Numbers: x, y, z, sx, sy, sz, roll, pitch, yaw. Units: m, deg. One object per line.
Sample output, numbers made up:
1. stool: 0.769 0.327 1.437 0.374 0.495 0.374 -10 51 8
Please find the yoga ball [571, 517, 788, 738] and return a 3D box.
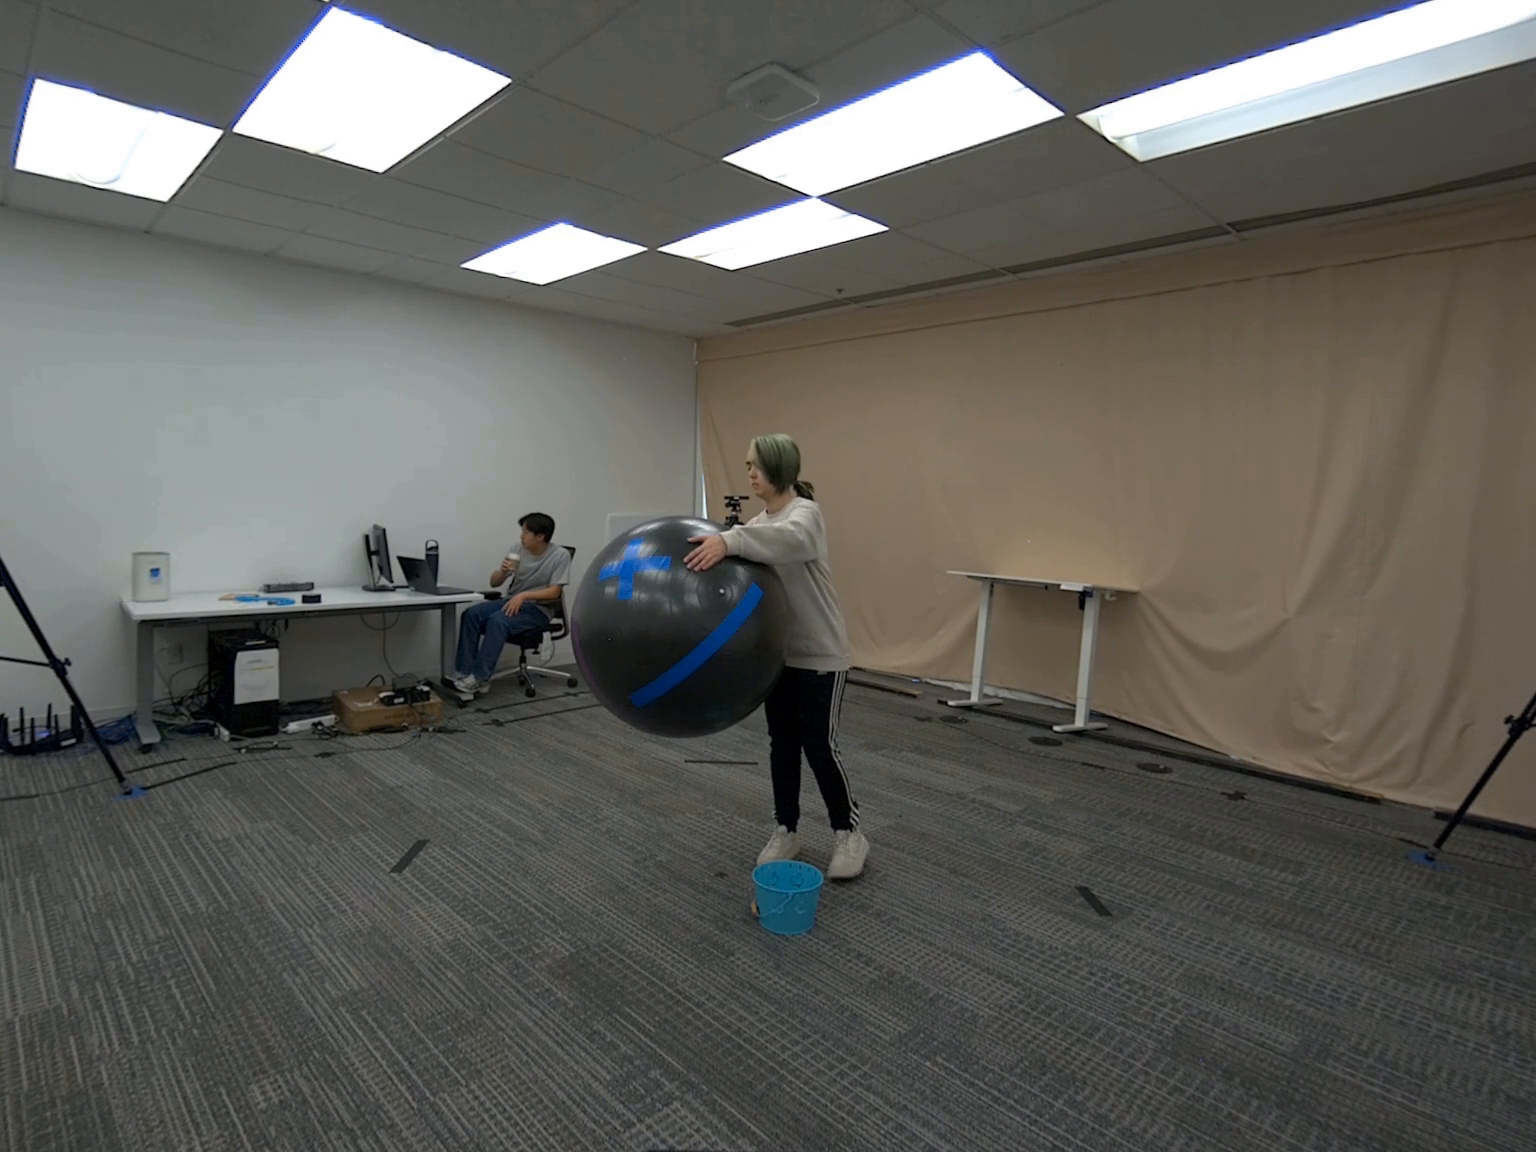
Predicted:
1. yoga ball: -0.307 0.179 2.908 0.757 0.756 0.761 1 4 -1
